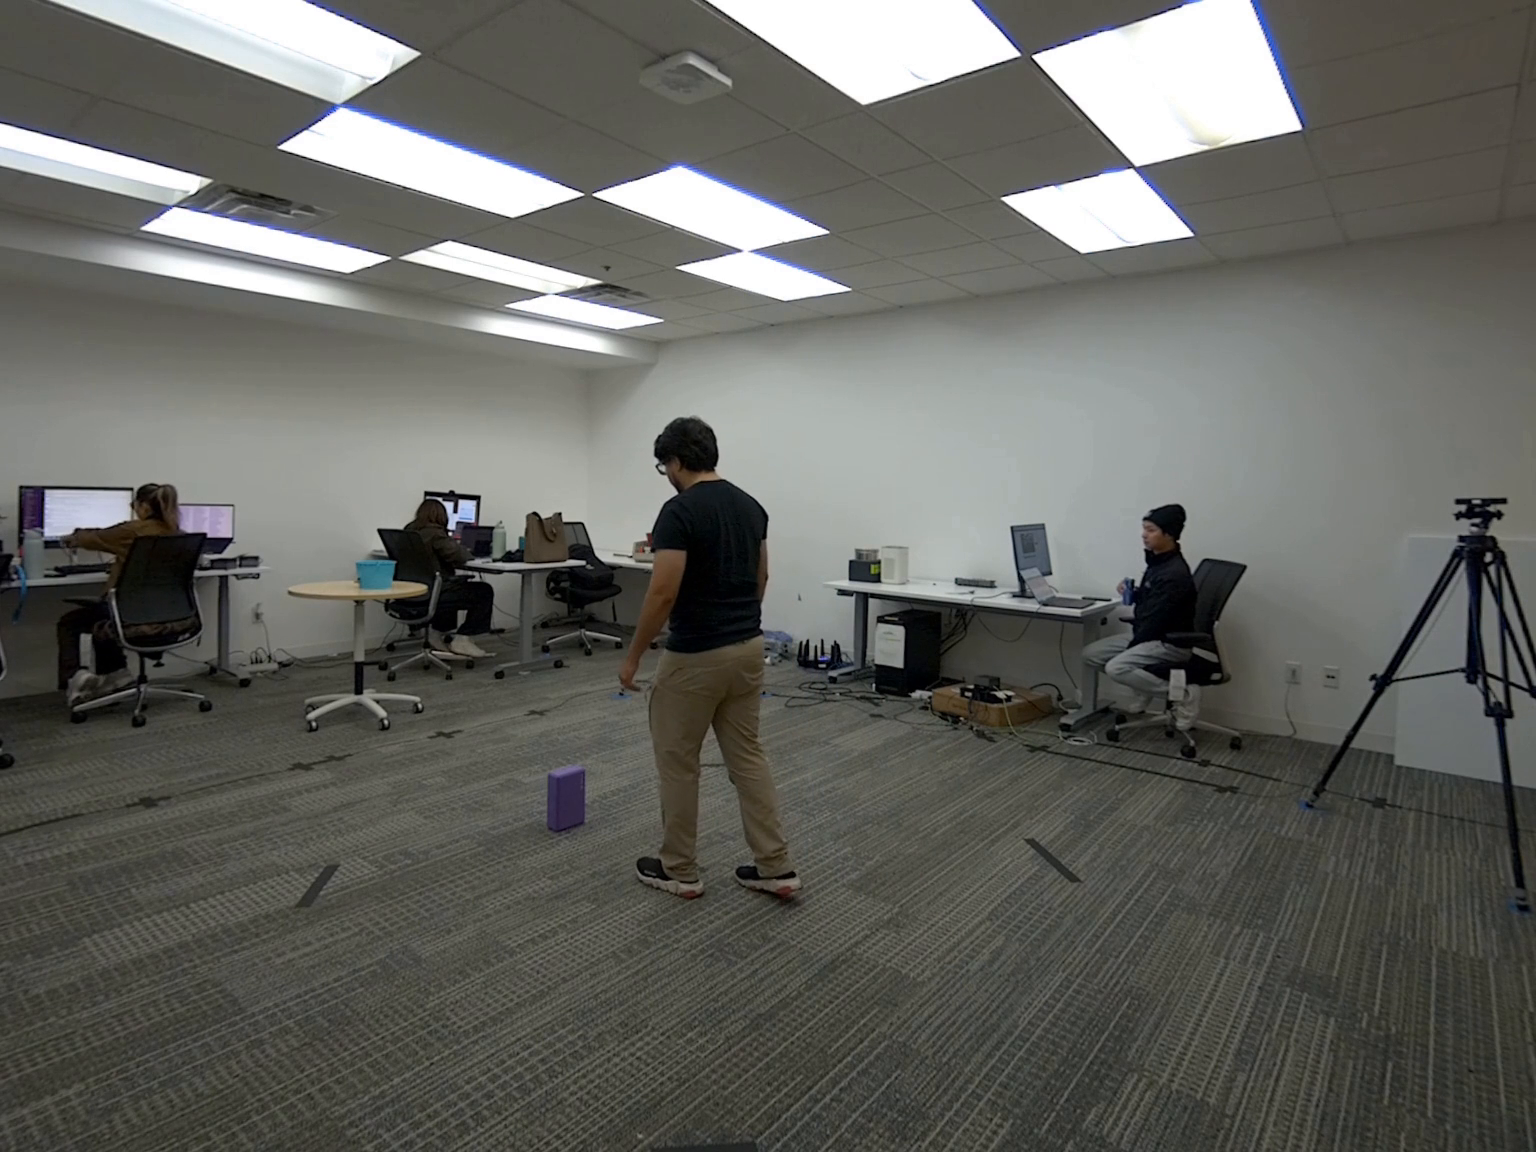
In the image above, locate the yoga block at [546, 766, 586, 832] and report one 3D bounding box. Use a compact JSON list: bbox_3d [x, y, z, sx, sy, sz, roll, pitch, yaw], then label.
[{"bbox_3d":[-0.841,0.907,3.490,0.079,0.229,0.144,4,4,40],"label":"yoga block"}]
